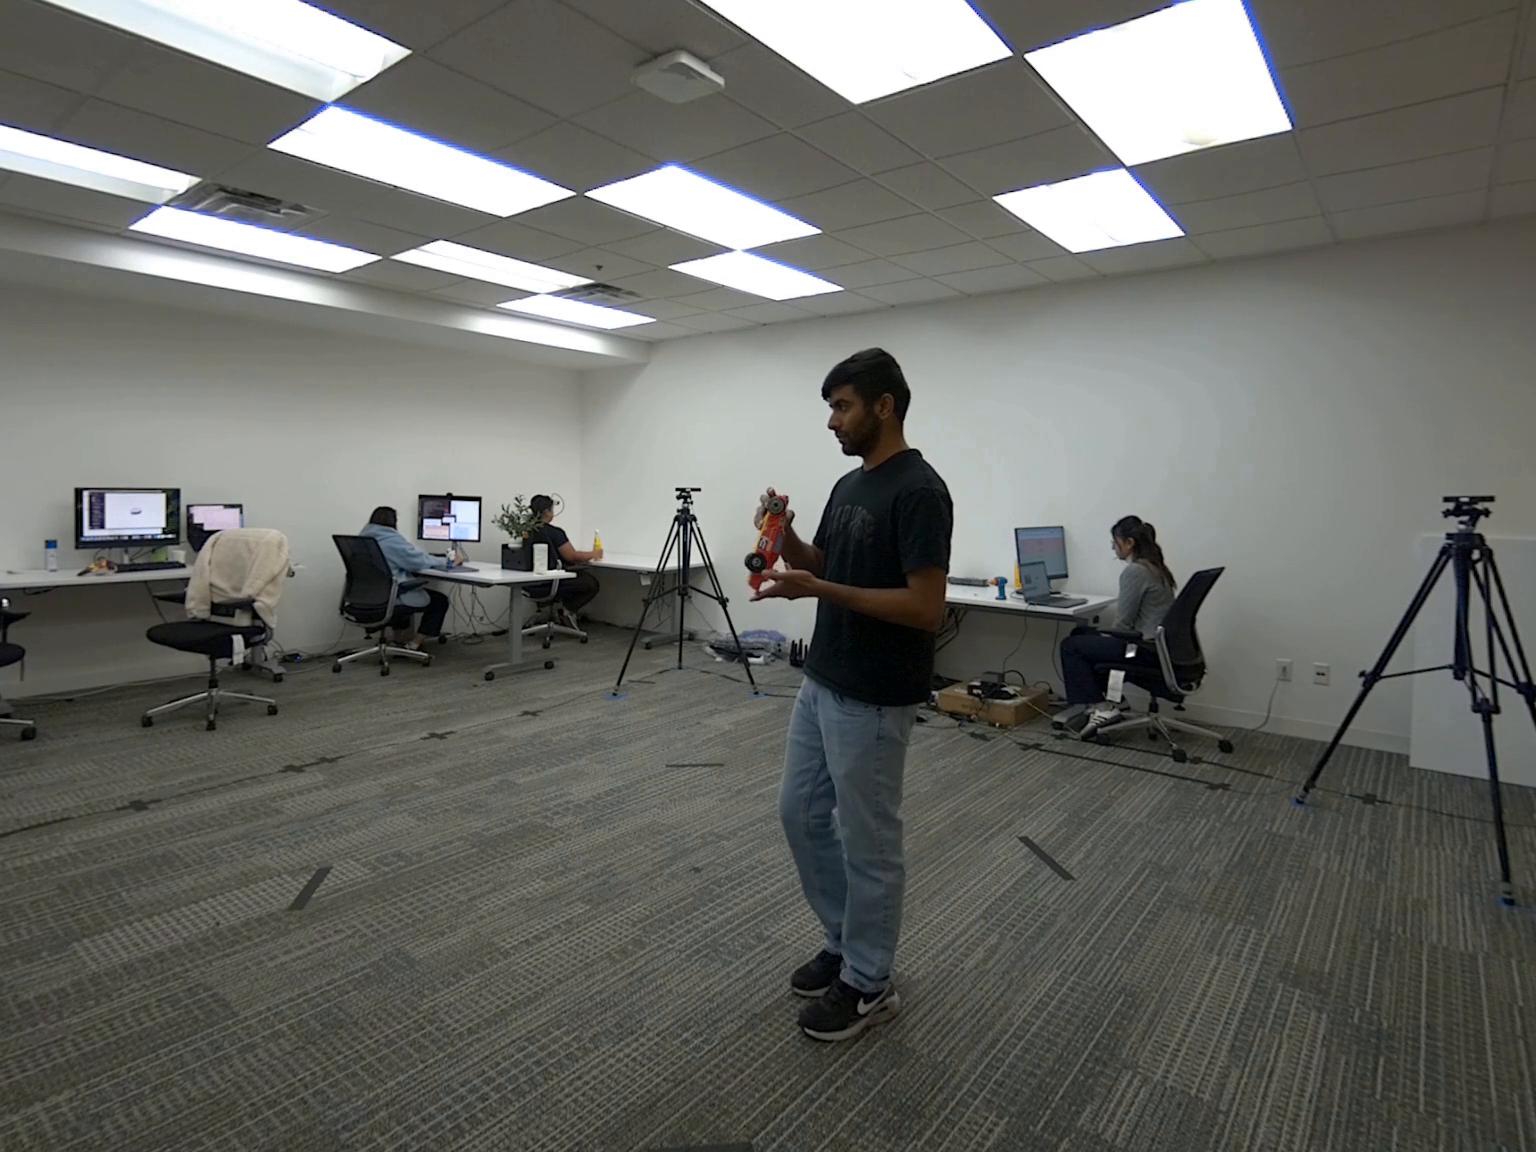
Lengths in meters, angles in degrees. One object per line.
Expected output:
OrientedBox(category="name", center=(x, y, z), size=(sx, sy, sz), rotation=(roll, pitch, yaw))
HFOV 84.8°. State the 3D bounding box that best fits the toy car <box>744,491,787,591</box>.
OrientedBox(category="toy car", center=(-0.015, -0.076, 2.098), size=(0.083, 0.255, 0.130), rotation=(9, -1, -2))
